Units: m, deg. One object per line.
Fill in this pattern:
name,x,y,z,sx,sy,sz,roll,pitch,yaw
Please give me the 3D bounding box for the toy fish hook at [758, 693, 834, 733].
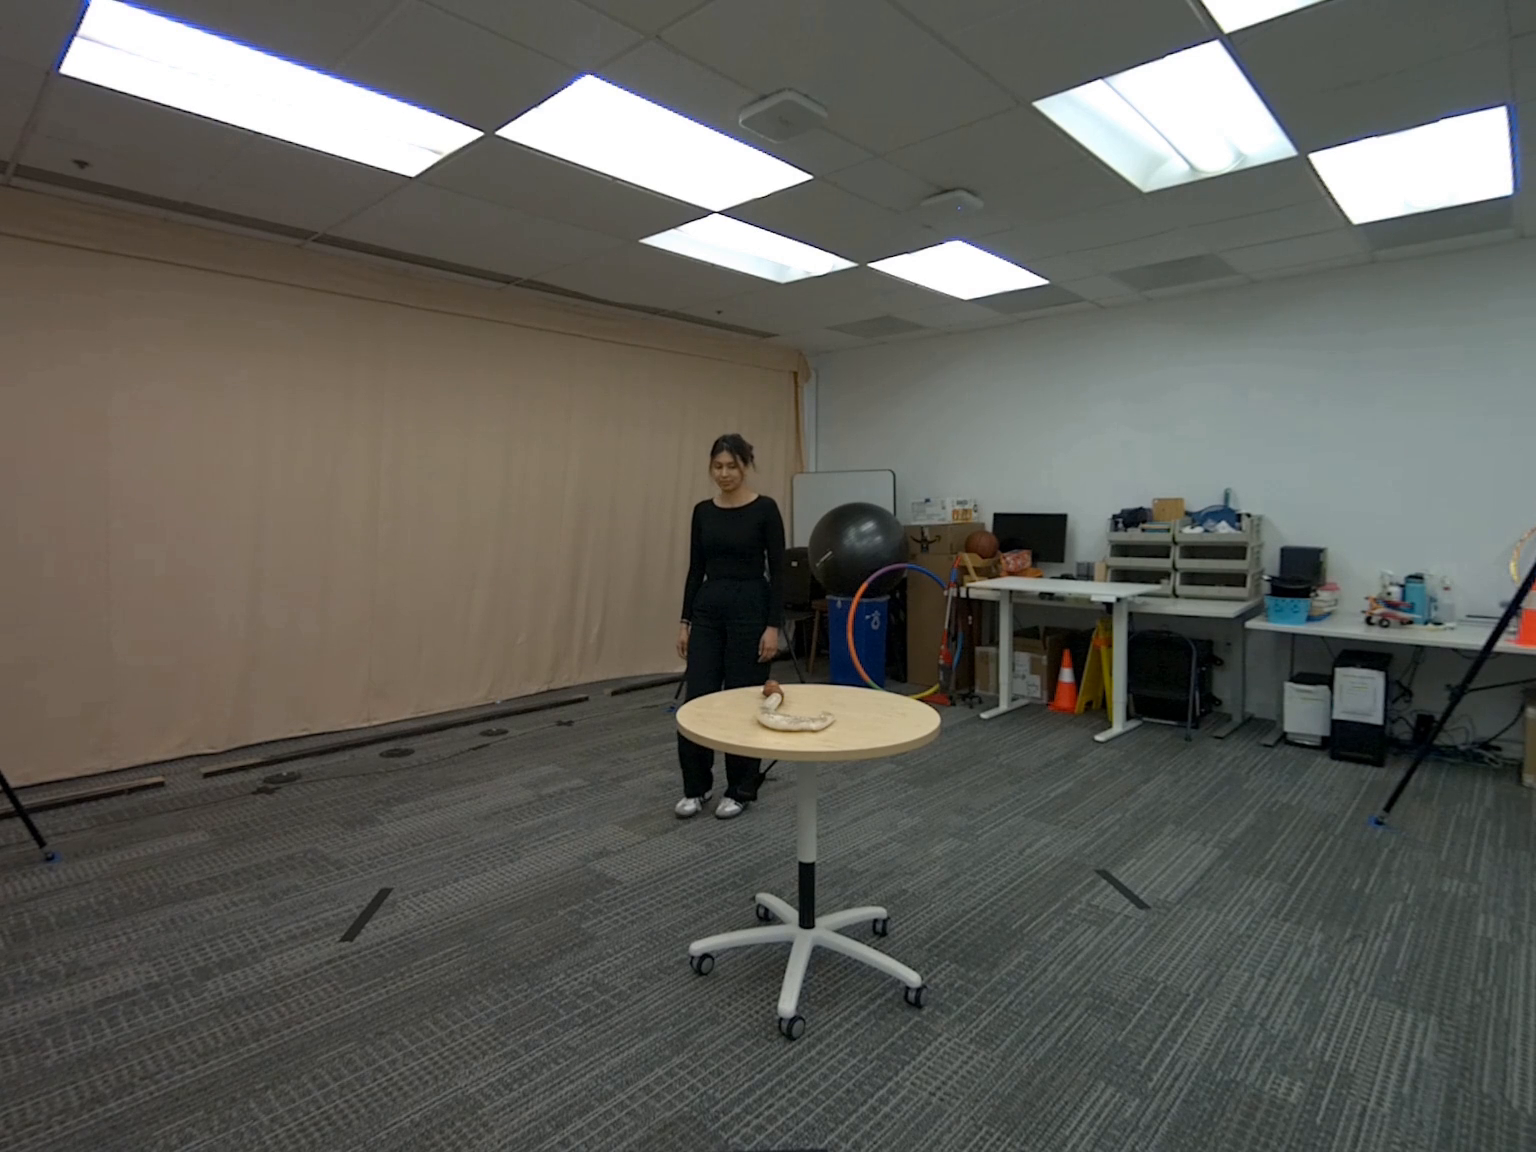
toy fish hook,0.079,0.387,2.508,0.224,0.048,0.508,6,6,-3
